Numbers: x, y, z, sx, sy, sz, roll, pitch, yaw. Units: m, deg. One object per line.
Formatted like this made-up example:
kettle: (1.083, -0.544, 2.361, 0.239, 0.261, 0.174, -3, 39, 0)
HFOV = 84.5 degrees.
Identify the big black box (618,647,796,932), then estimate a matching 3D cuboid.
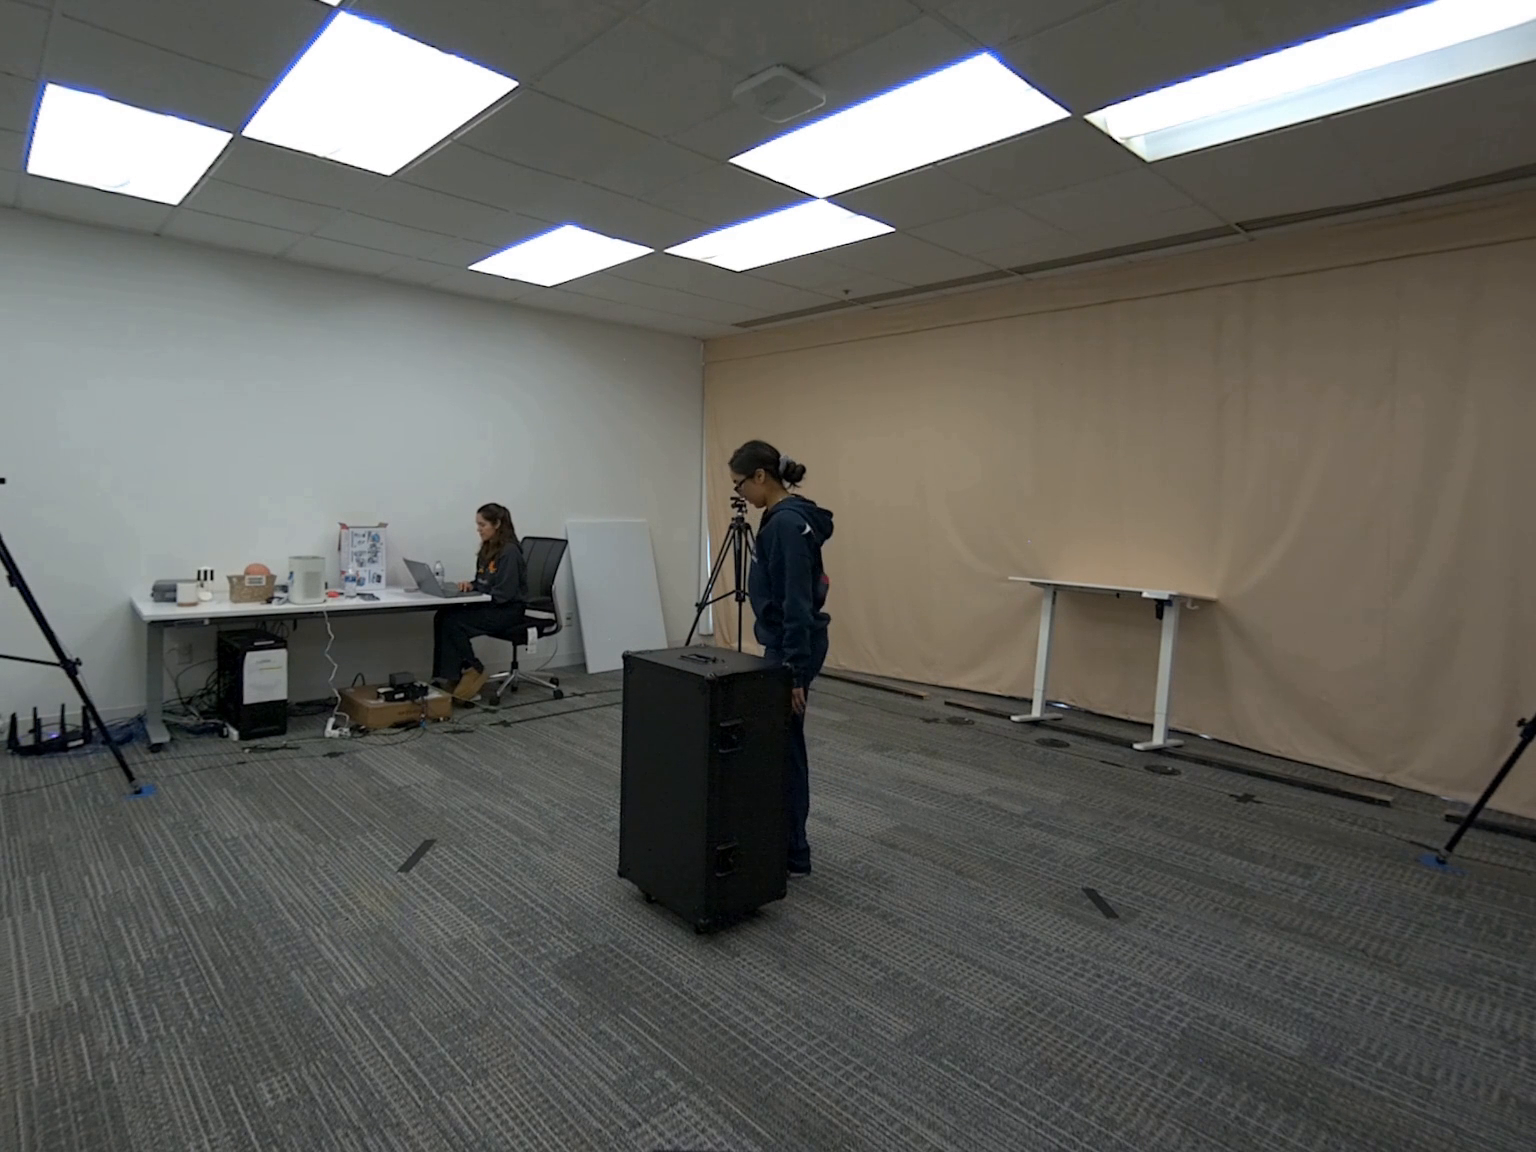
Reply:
big black box: (-0.222, 0.706, 2.853, 0.387, 0.860, 0.534, 0, 3, -43)
